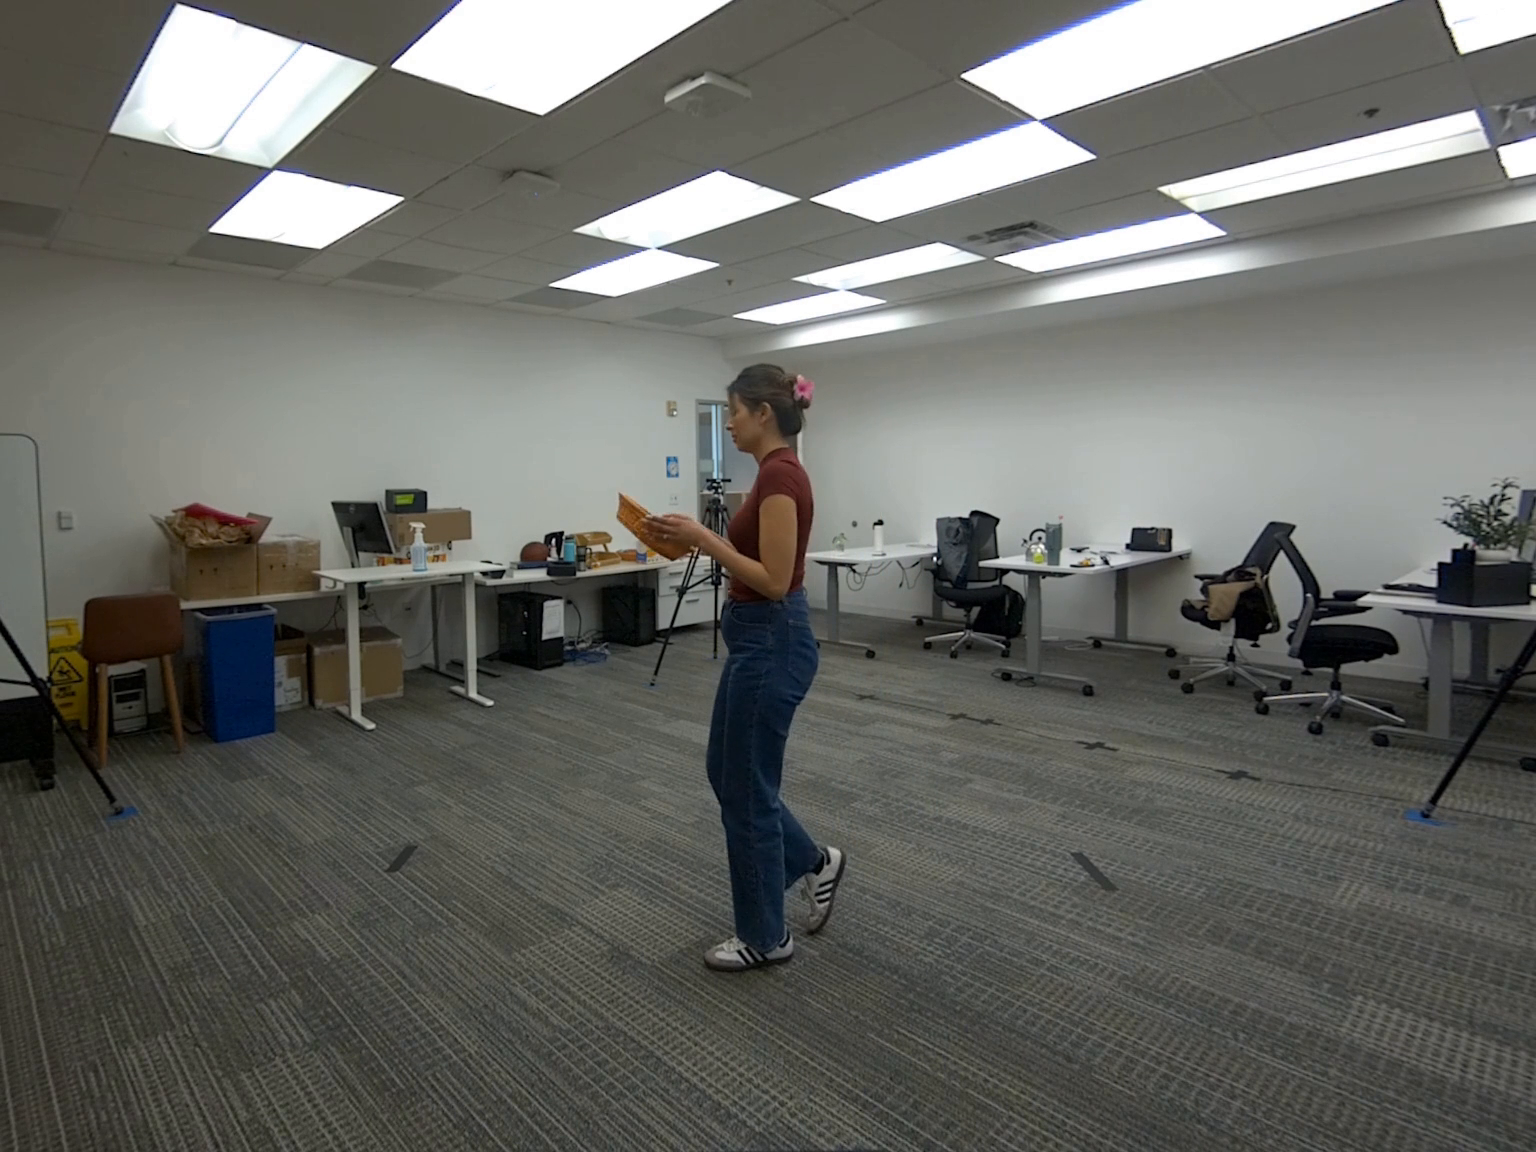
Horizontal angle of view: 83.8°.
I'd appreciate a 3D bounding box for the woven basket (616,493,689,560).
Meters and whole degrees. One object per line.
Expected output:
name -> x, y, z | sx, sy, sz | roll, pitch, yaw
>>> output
woven basket -> -0.341, -0.136, 2.498 | 0.254, 0.073, 0.348 | 39, -1, 4
